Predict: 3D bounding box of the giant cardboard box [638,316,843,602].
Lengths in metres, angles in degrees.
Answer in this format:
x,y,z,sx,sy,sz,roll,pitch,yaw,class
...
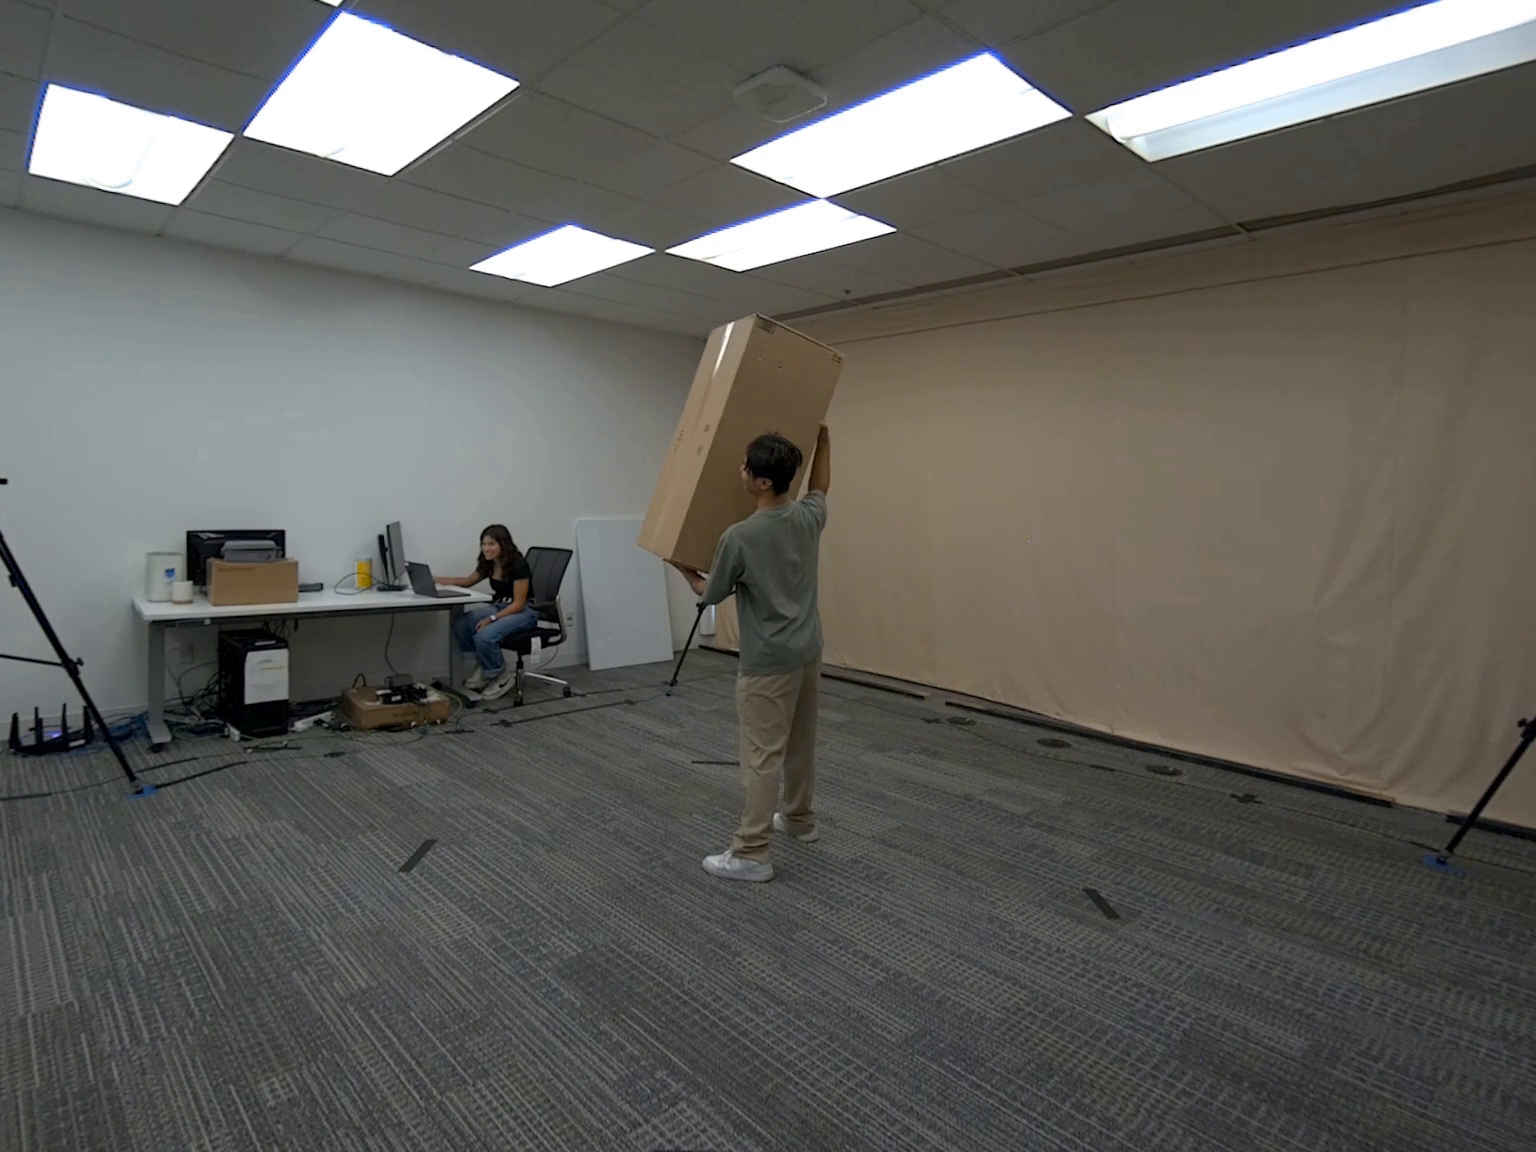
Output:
x,y,z,sx,sy,sz,roll,pitch,yaw,class
-0.149,-0.517,3.593,0.417,1.026,0.589,19,0,-23,giant cardboard box
